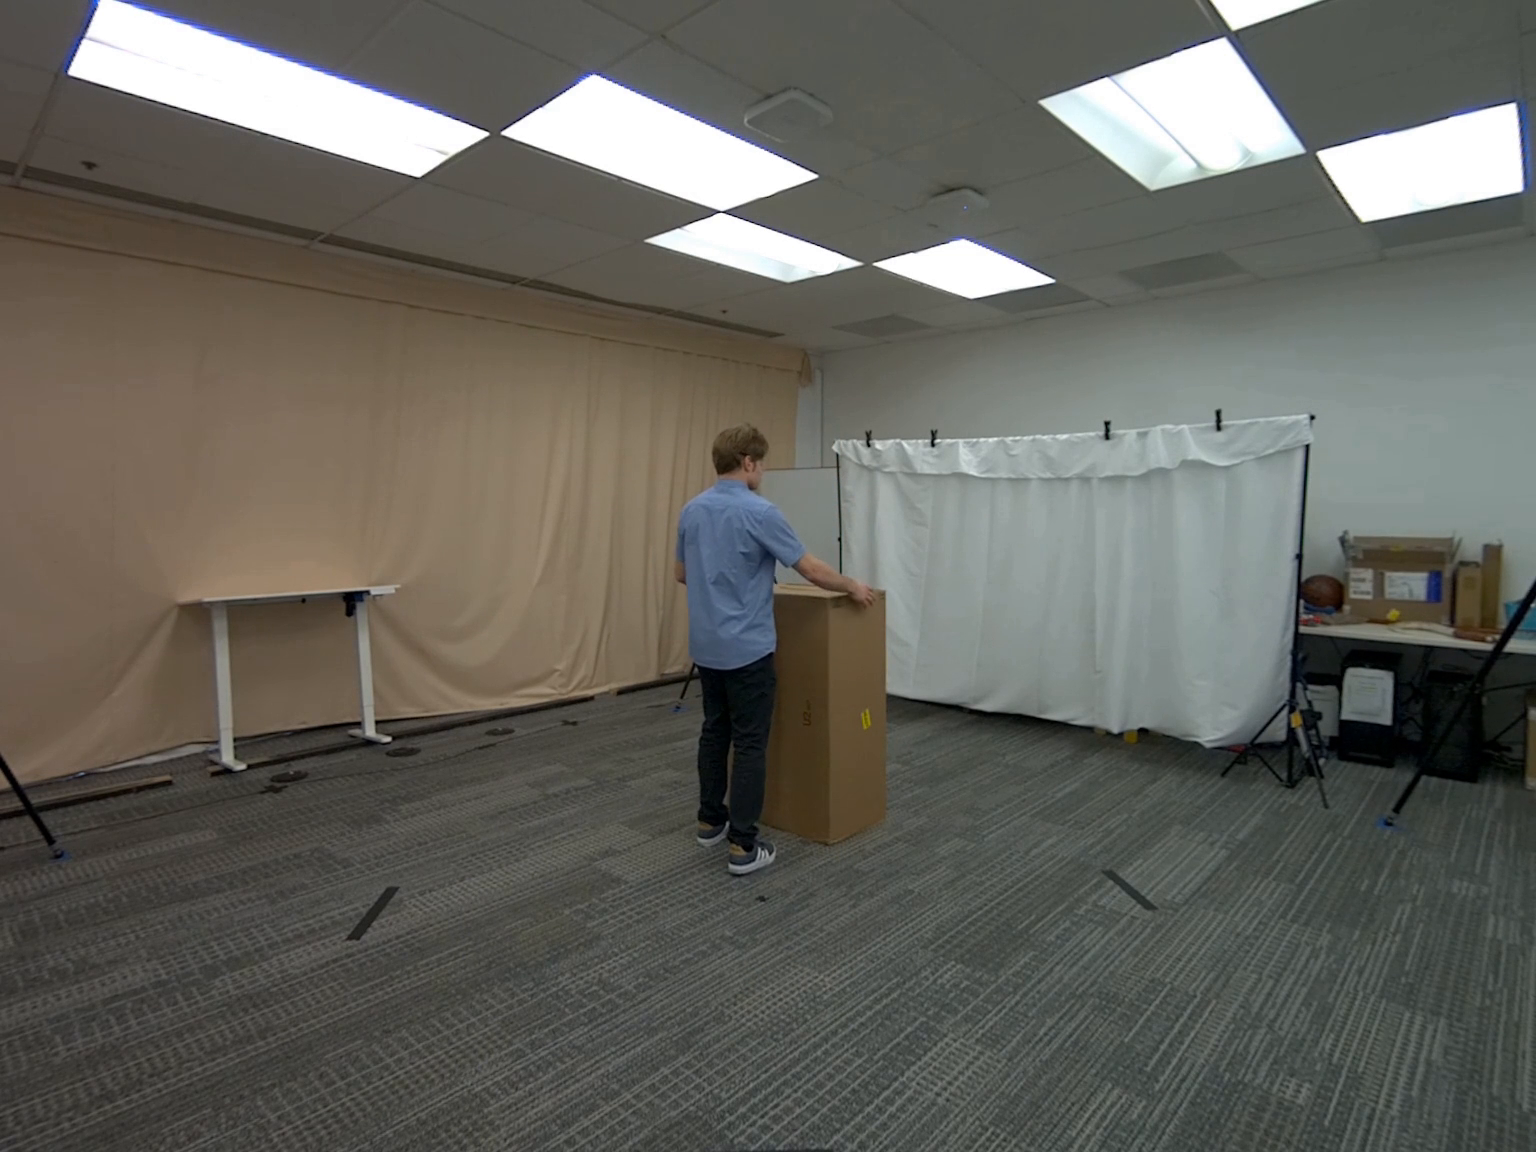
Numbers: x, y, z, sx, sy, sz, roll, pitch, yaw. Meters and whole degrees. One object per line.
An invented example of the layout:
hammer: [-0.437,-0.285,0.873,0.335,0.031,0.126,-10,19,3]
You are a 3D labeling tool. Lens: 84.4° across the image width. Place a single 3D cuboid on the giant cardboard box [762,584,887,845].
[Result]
giant cardboard box: [0.174,0.571,3.774,0.596,1.024,0.413,2,3,43]
